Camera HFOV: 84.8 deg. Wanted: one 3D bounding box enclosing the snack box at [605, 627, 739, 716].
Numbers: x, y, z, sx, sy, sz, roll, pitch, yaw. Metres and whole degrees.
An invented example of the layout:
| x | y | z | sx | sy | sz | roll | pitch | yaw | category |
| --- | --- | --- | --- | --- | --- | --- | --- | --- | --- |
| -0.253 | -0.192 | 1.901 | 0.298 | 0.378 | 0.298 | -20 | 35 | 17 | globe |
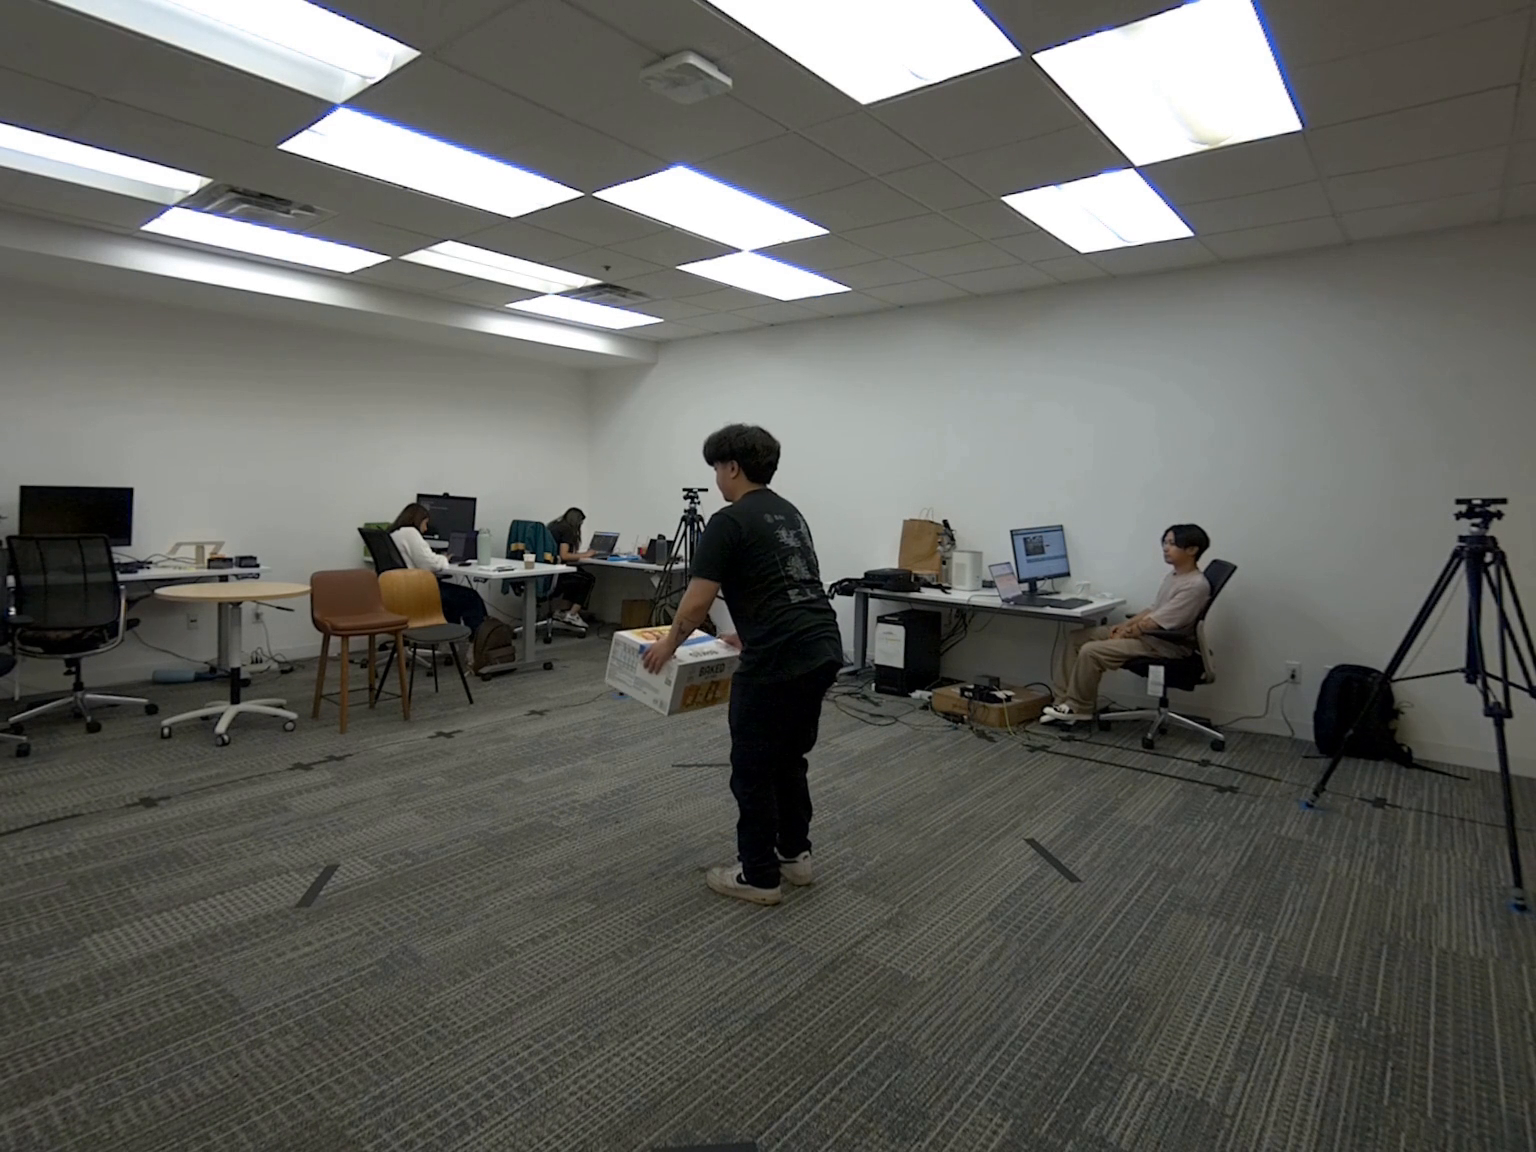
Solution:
| x | y | z | sx | sy | sz | roll | pitch | yaw | category |
| --- | --- | --- | --- | --- | --- | --- | --- | --- | --- |
| -0.359 | 0.355 | 3.253 | 0.353 | 0.204 | 0.393 | 20 | 13 | 35 | snack box |
